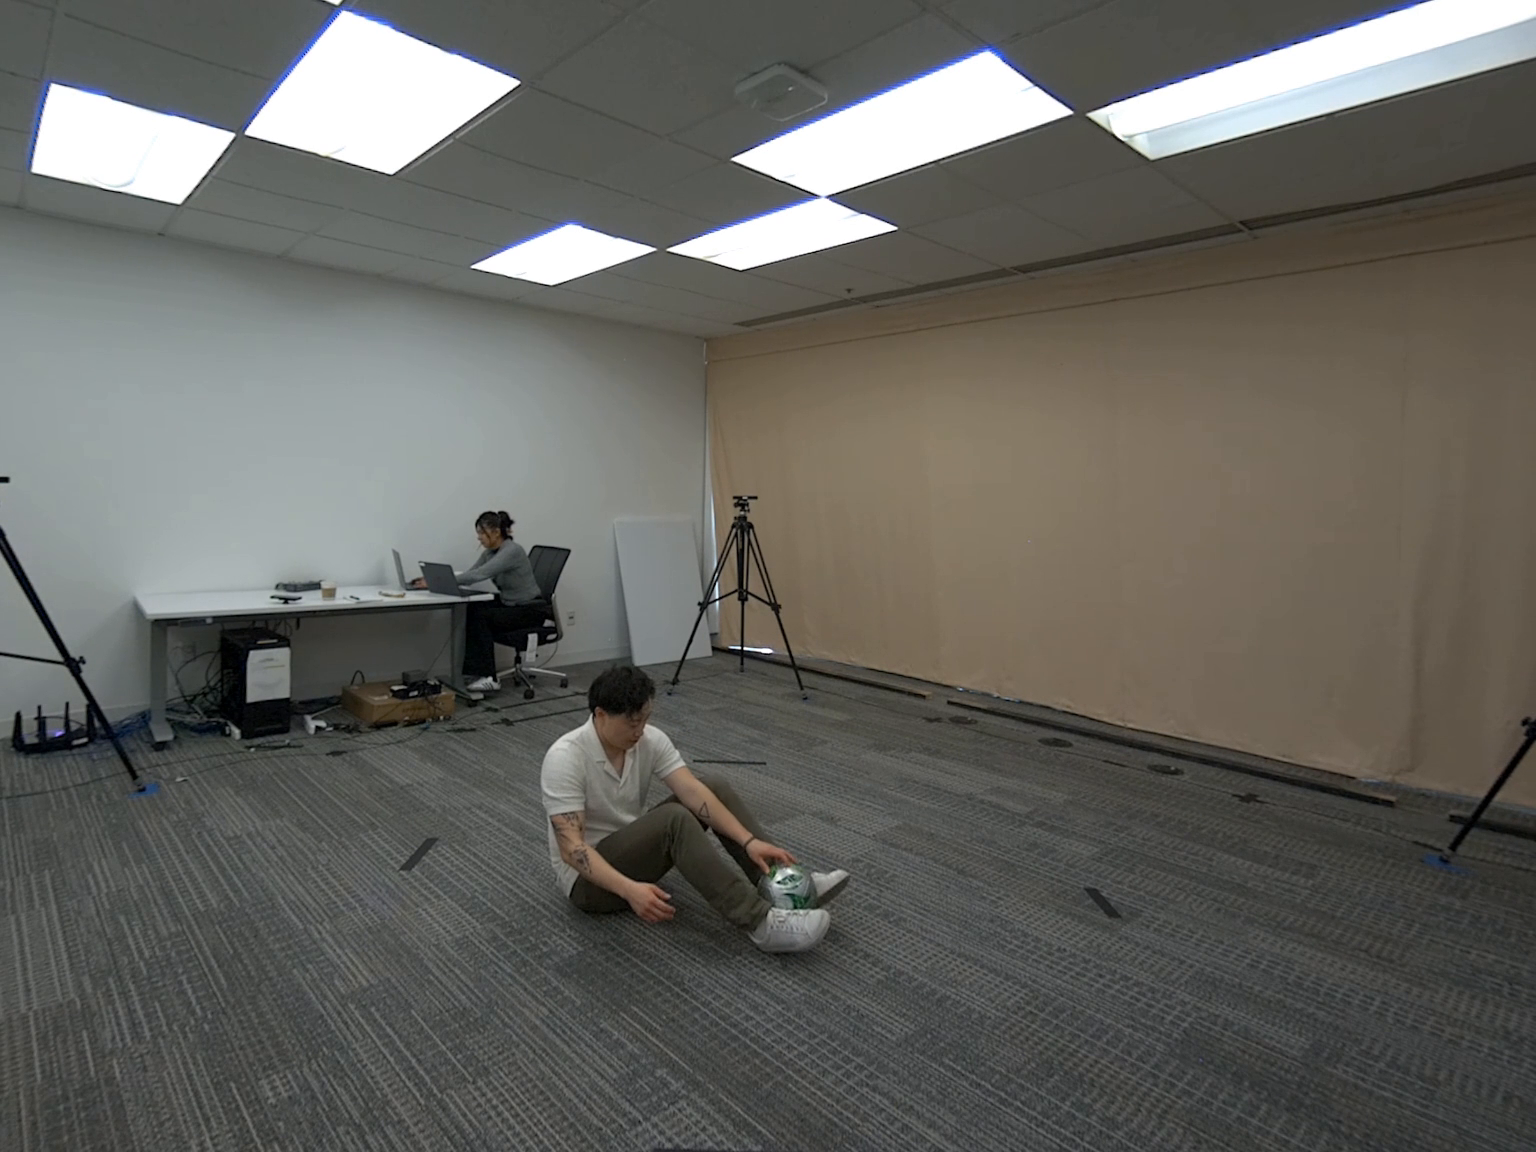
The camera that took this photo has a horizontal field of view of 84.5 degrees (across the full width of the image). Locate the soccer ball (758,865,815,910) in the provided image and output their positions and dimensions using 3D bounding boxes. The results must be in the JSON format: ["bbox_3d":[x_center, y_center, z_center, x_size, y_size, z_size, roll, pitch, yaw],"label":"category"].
[{"bbox_3d":[0.044,1.004,2.637,0.187,0.187,0.188,1,4,-1],"label":"soccer ball"}]
